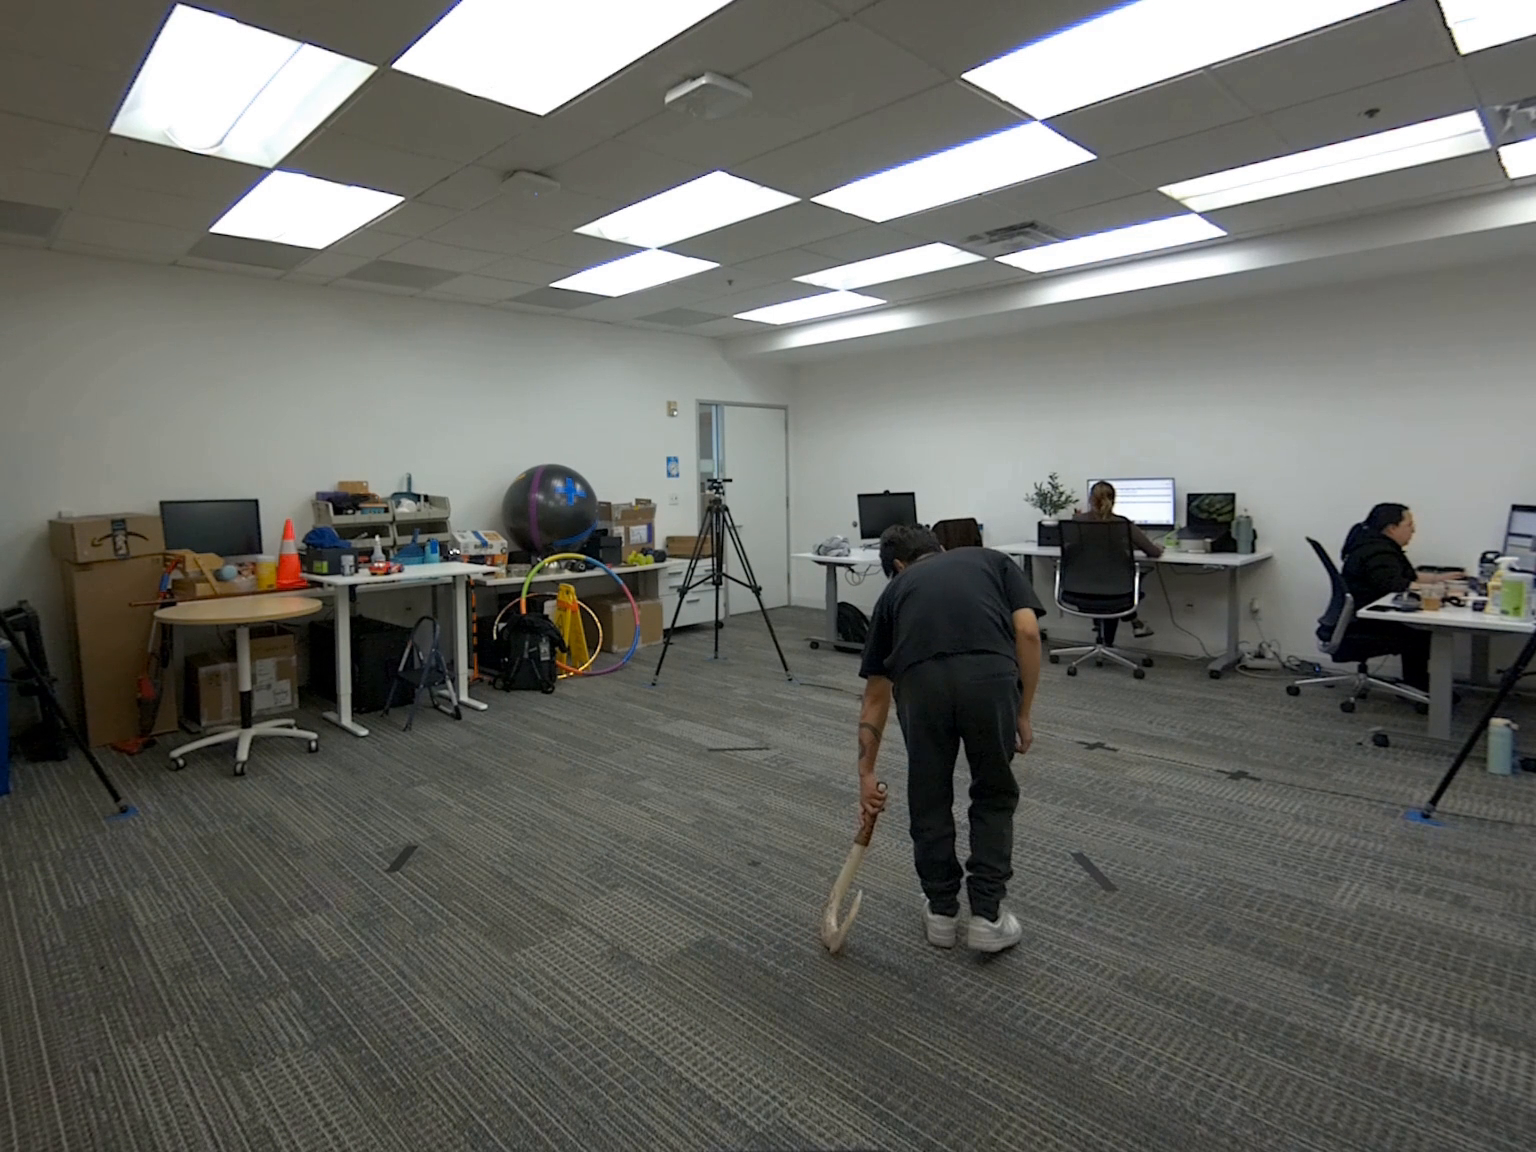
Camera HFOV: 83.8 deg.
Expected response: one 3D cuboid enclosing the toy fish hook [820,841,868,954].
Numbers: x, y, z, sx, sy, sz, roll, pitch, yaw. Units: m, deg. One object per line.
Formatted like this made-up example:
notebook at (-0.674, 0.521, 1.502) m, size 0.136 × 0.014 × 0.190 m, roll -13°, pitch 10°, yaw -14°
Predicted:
toy fish hook at (0.284, 0.879, 2.571) m, size 0.048 × 0.509 × 0.226 m, roll 24°, pitch -12°, yaw -11°
